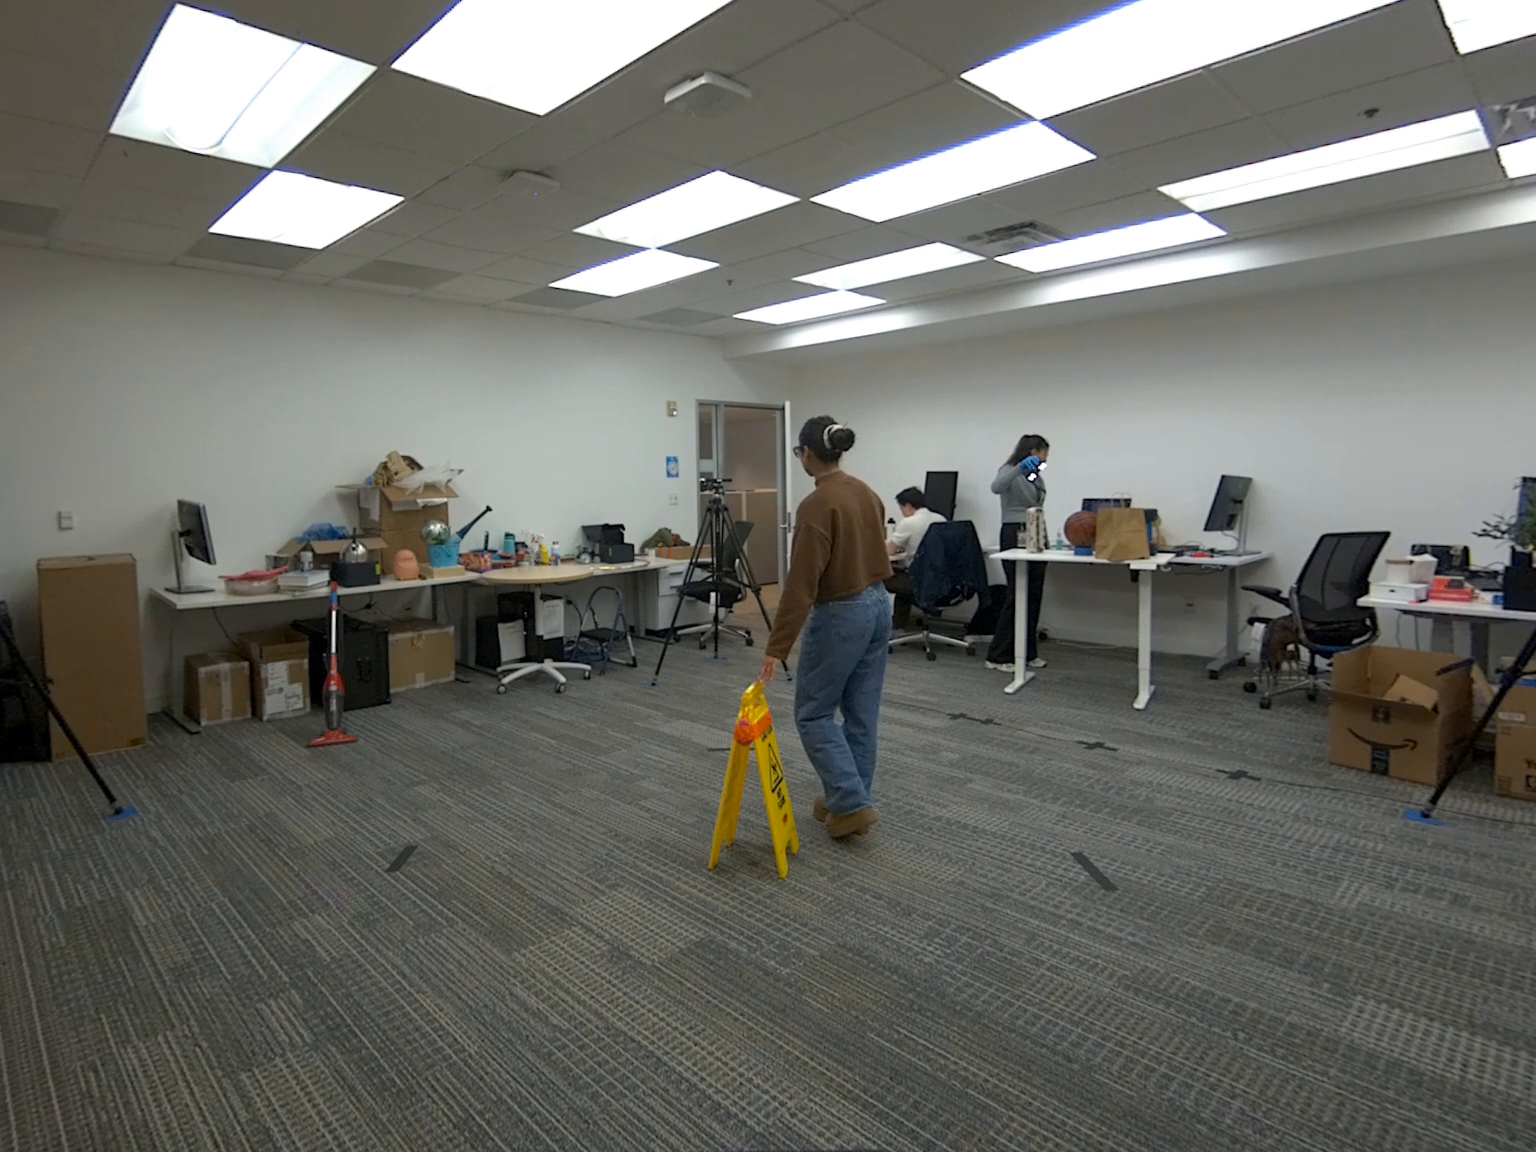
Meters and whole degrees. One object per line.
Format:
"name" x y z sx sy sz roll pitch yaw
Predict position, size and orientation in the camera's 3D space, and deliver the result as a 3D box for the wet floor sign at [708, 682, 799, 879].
"wet floor sign" -0.052 0.716 3.126 0.294 0.645 0.278 0 2 15
